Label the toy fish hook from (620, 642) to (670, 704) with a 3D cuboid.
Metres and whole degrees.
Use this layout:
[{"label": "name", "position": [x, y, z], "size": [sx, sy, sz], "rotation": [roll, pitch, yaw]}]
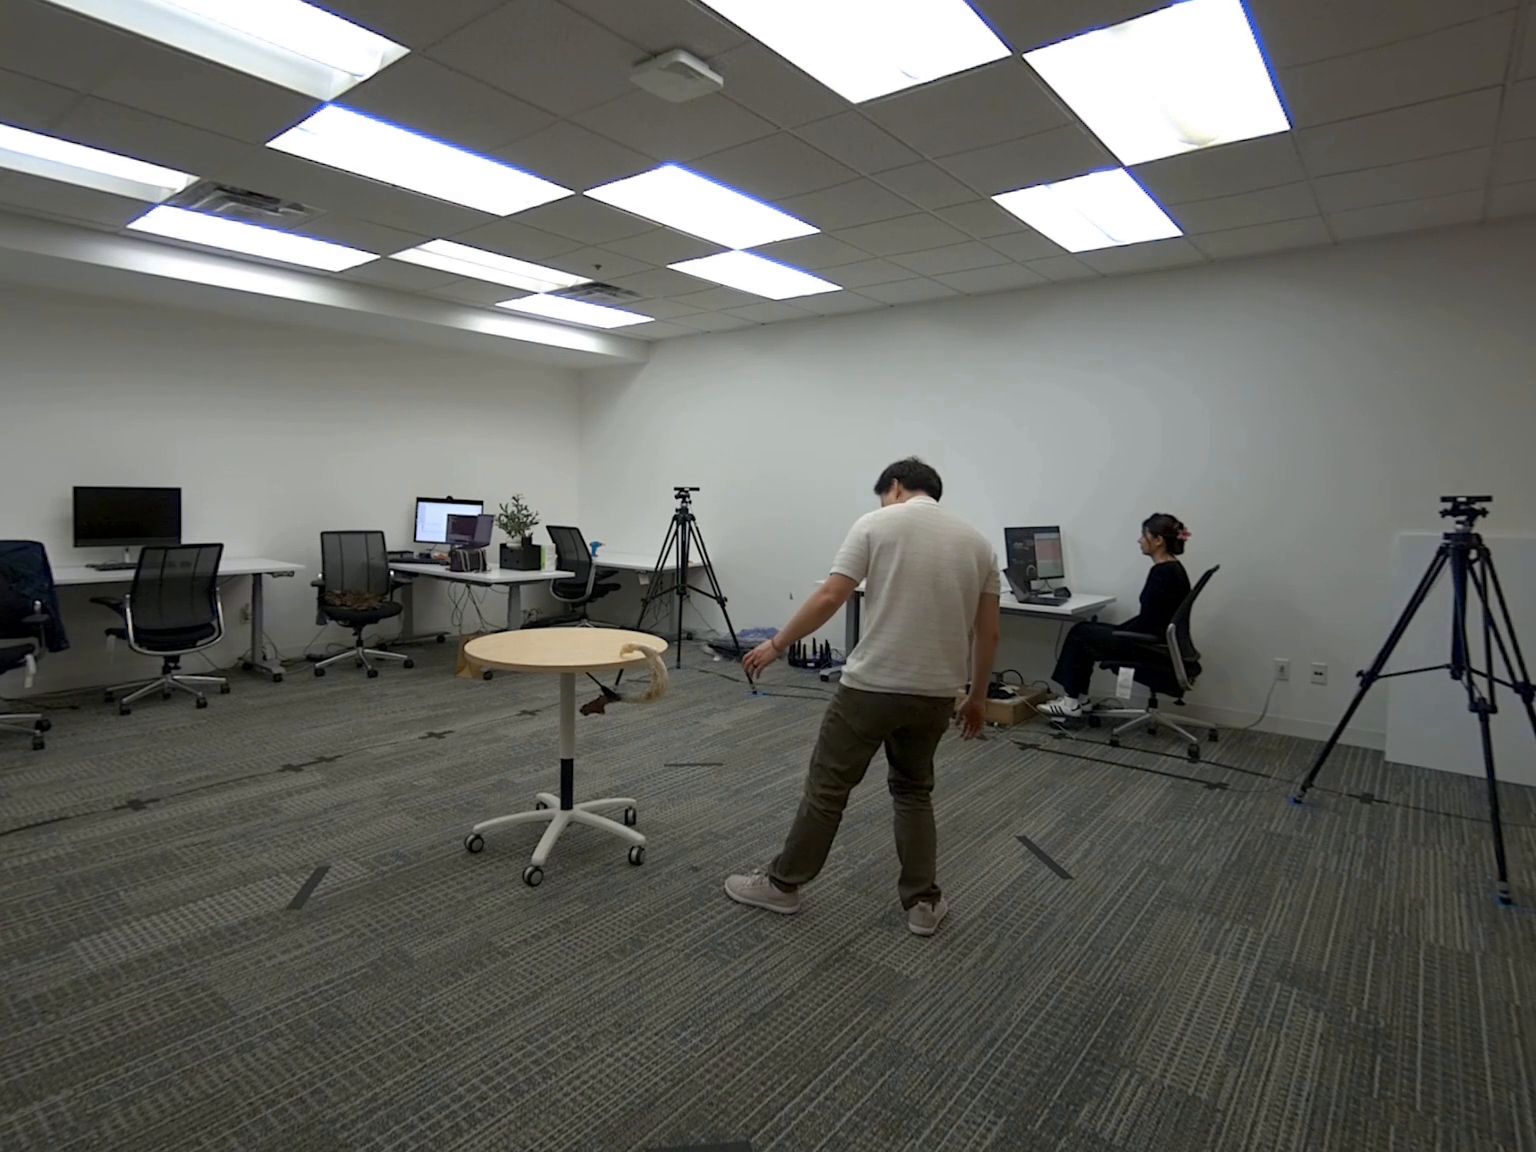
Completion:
[{"label": "toy fish hook", "position": [-0.556, 0.383, 3.092], "size": [0.515, 0.227, 0.047], "rotation": [-24, -10, 37]}]
